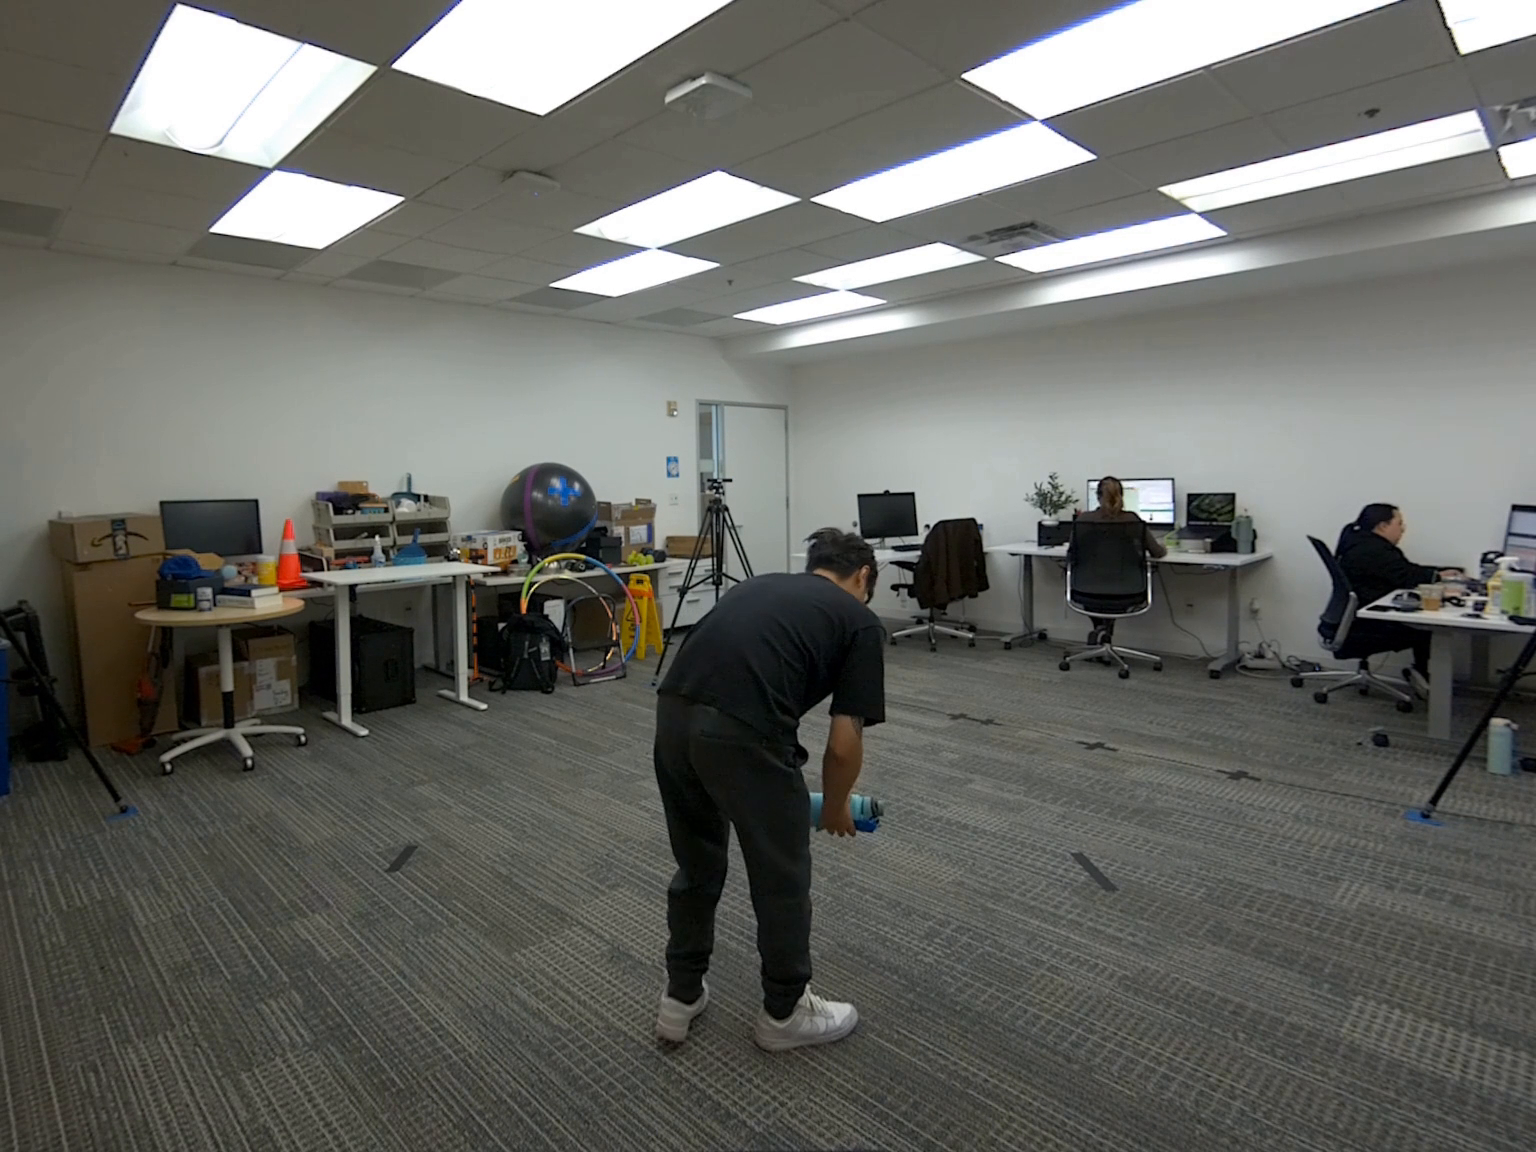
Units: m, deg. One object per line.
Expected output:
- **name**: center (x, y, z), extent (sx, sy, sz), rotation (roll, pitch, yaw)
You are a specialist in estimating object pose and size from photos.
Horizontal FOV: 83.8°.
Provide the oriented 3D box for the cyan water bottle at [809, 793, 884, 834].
- **cyan water bottle**: center (0.170, 0.627, 2.284), extent (0.287, 0.092, 0.091), rotation (-2, 4, 15)
